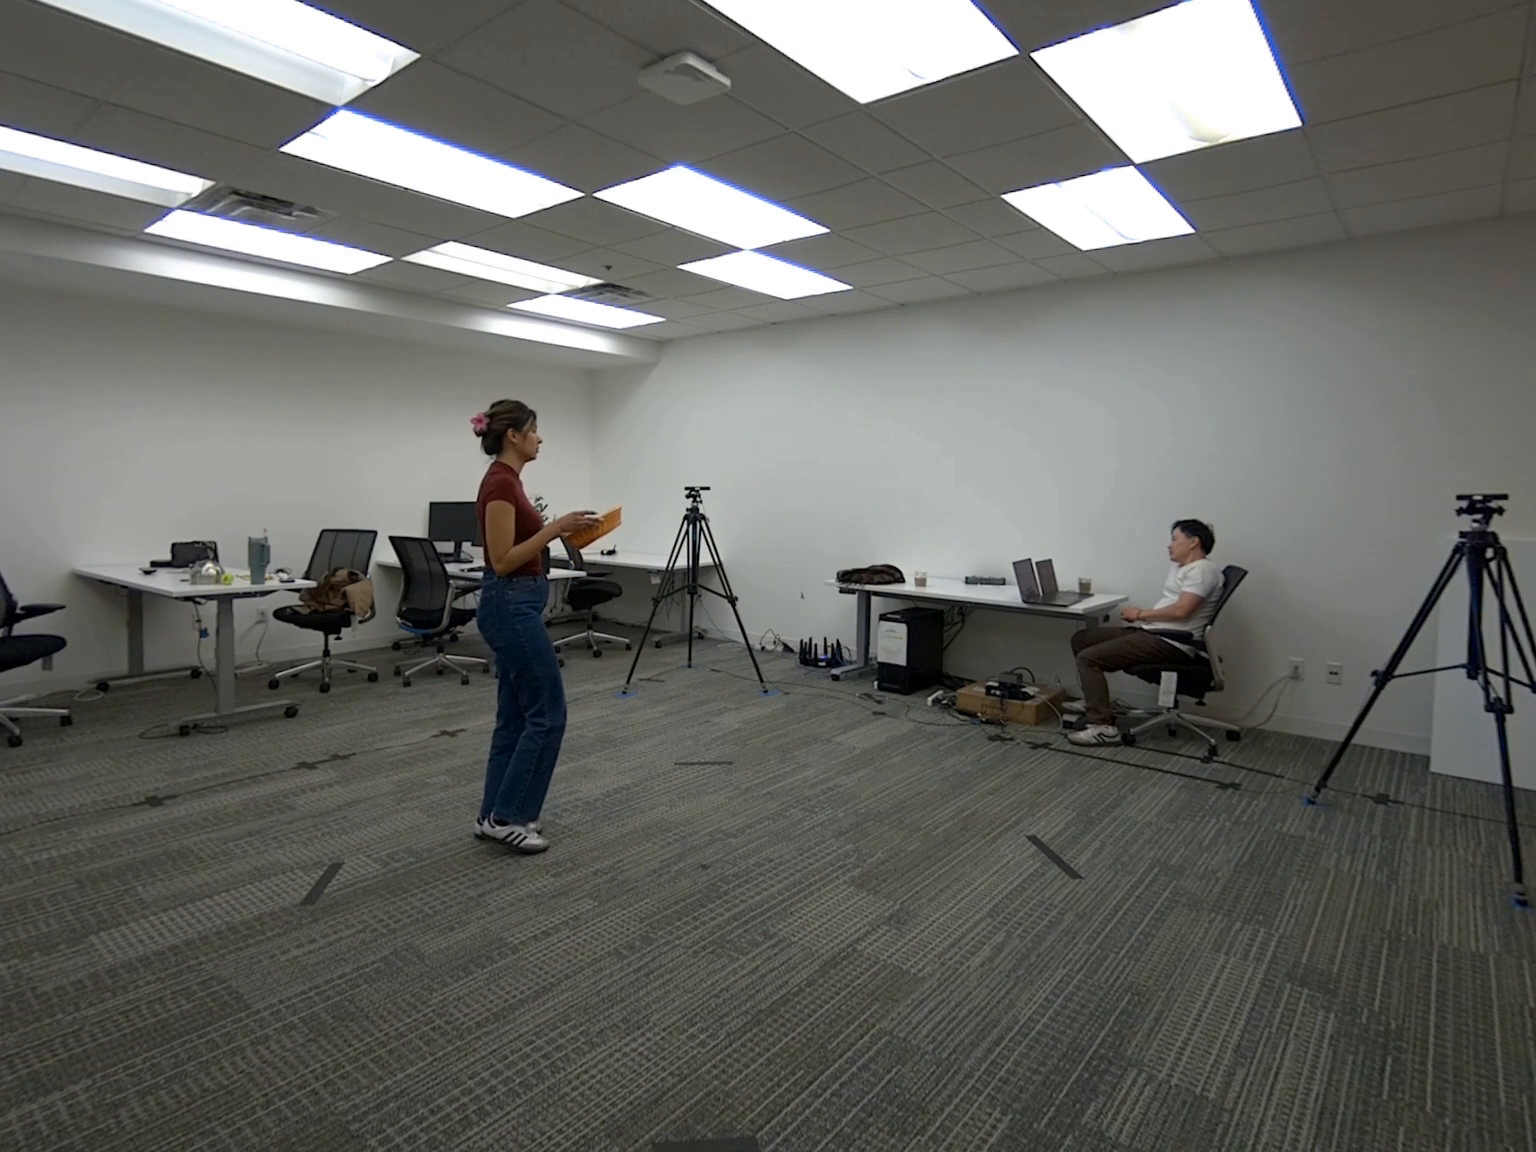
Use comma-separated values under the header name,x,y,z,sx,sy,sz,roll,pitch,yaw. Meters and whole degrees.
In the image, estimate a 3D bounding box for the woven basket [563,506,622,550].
name,x,y,z,sx,sy,sz,roll,pitch,yaw
woven basket,-0.704,-0.186,3.378,0.253,0.073,0.352,-29,8,7
